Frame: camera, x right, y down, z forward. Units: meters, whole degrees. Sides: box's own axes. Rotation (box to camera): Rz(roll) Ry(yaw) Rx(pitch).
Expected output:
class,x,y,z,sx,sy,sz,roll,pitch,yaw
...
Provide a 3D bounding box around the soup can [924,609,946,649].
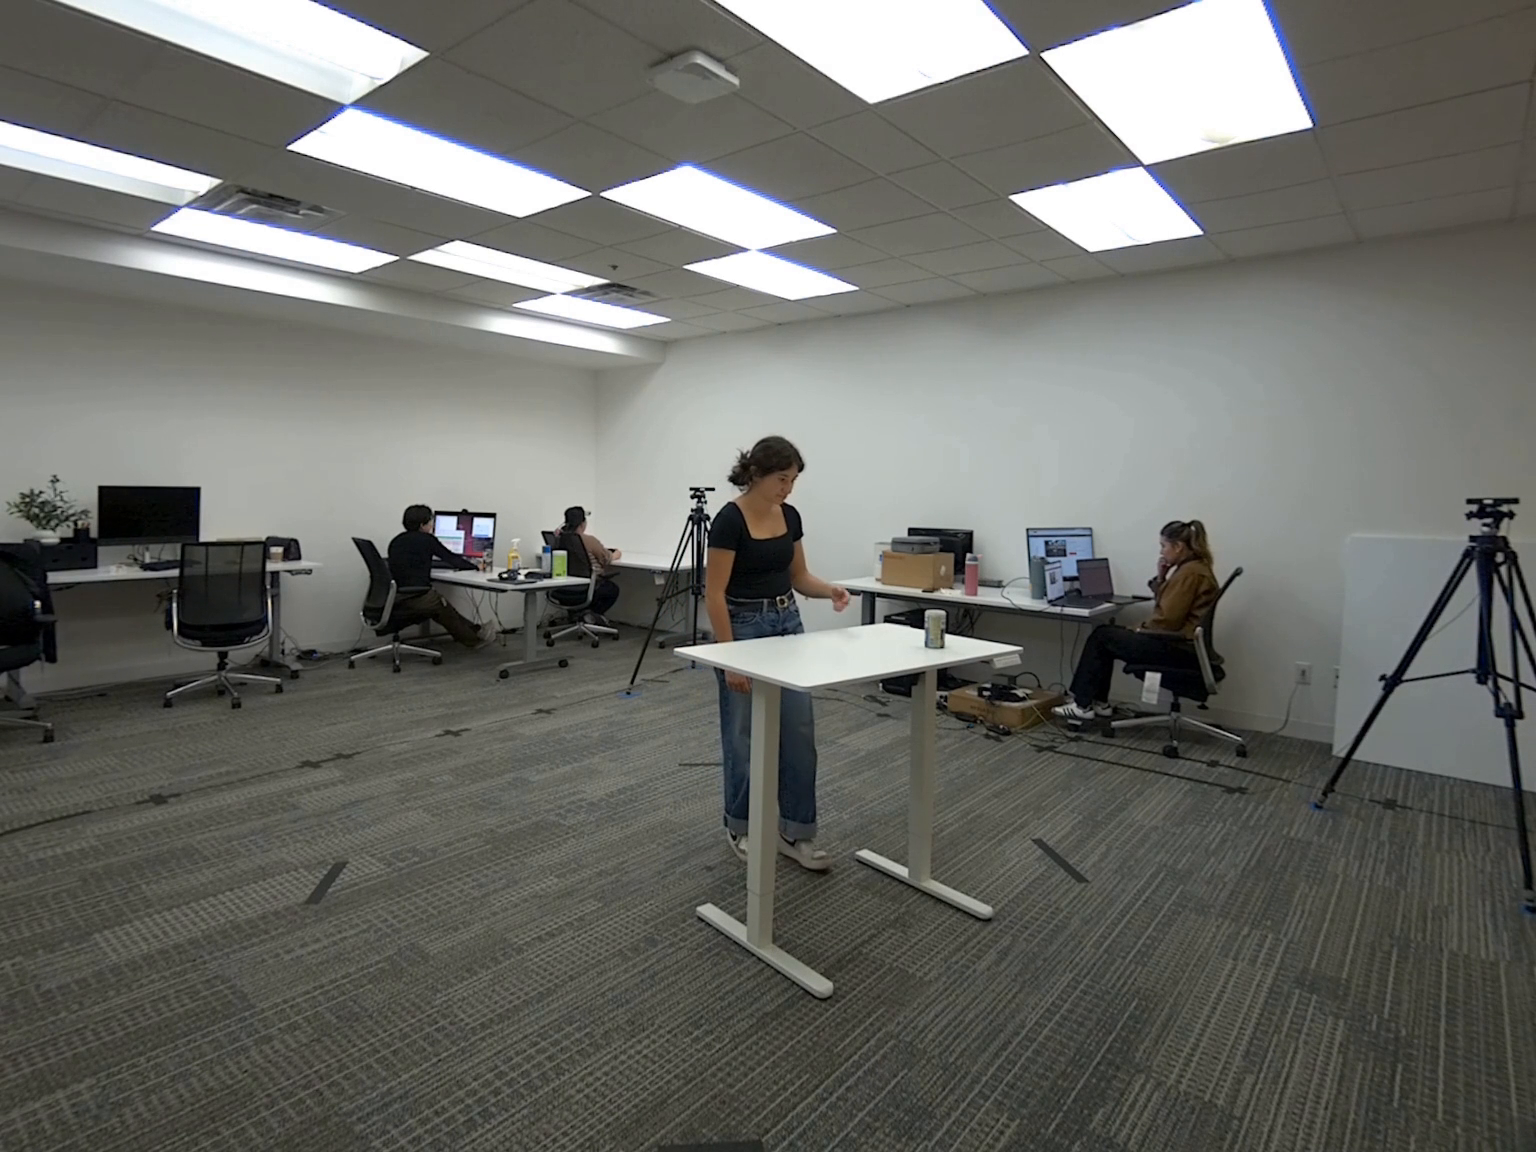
class,x,y,z,sx,sy,sz,roll,pitch,yaw
soup can,0.546,0.176,2.792,0.067,0.121,0.067,4,2,-2
